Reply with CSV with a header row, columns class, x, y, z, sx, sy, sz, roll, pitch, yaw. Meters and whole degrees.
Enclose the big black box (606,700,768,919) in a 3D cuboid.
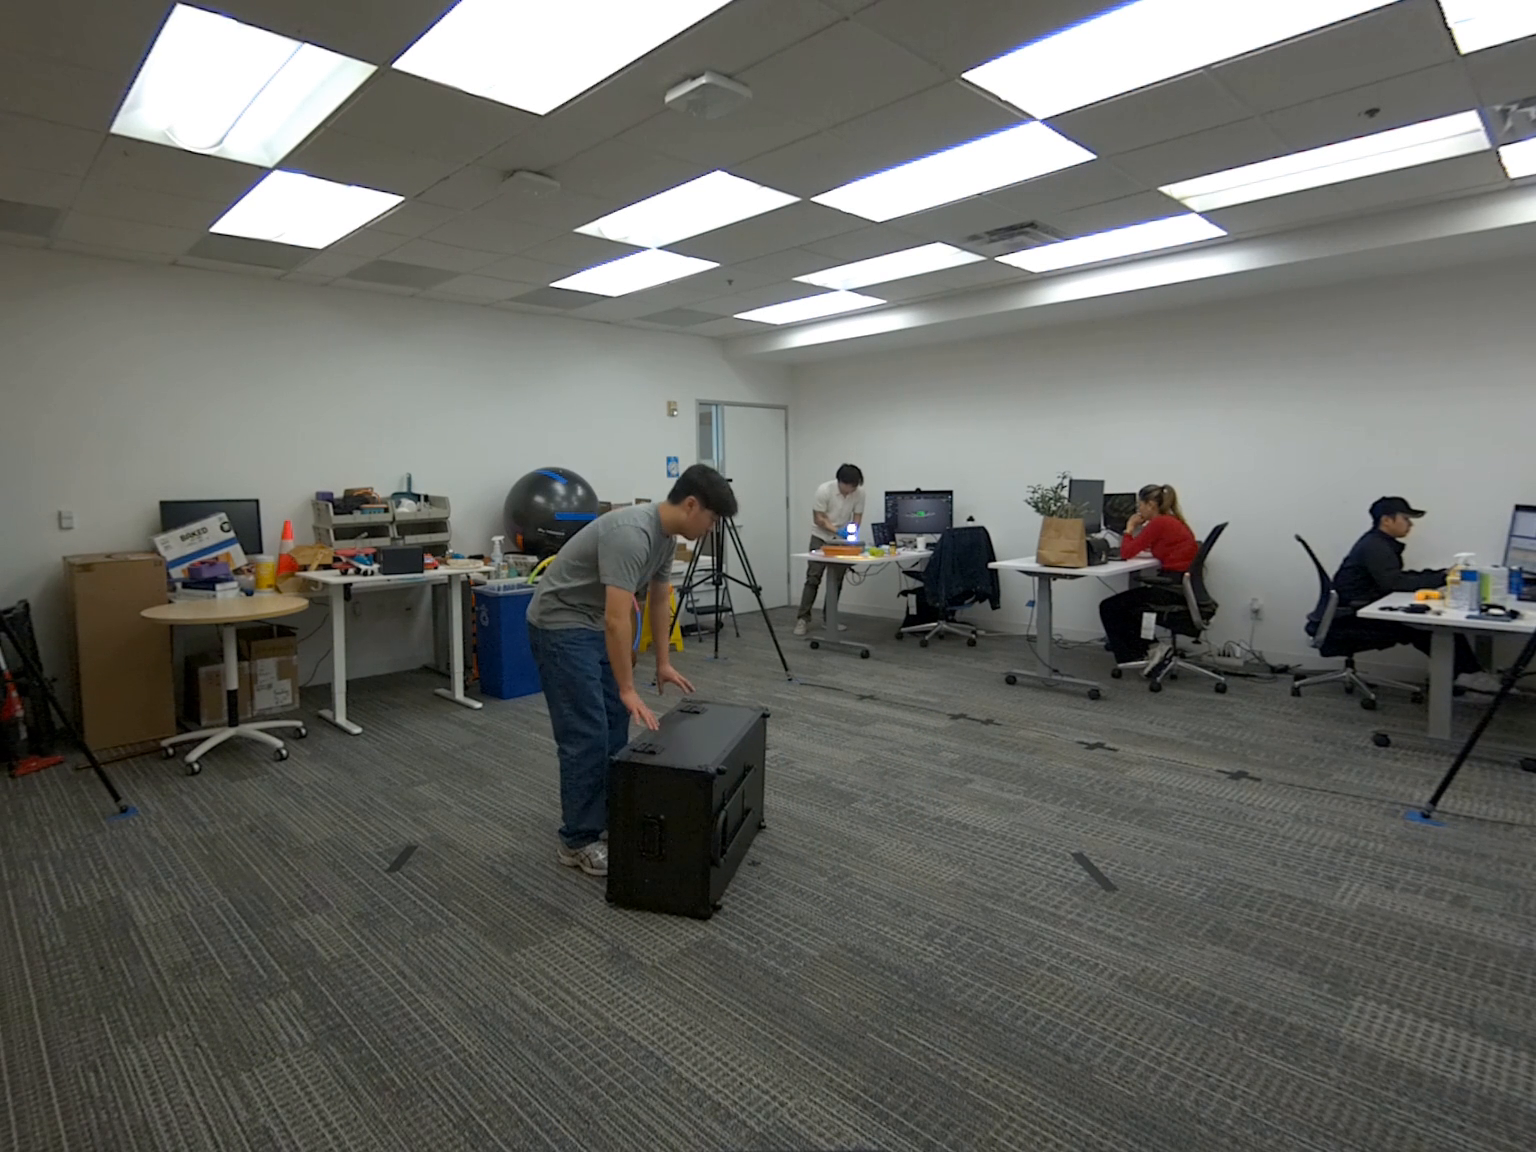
class,x,y,z,sx,sy,sz,roll,pitch,yaw
big black box,-0.246,0.785,3.138,0.402,0.519,0.854,3,6,12
